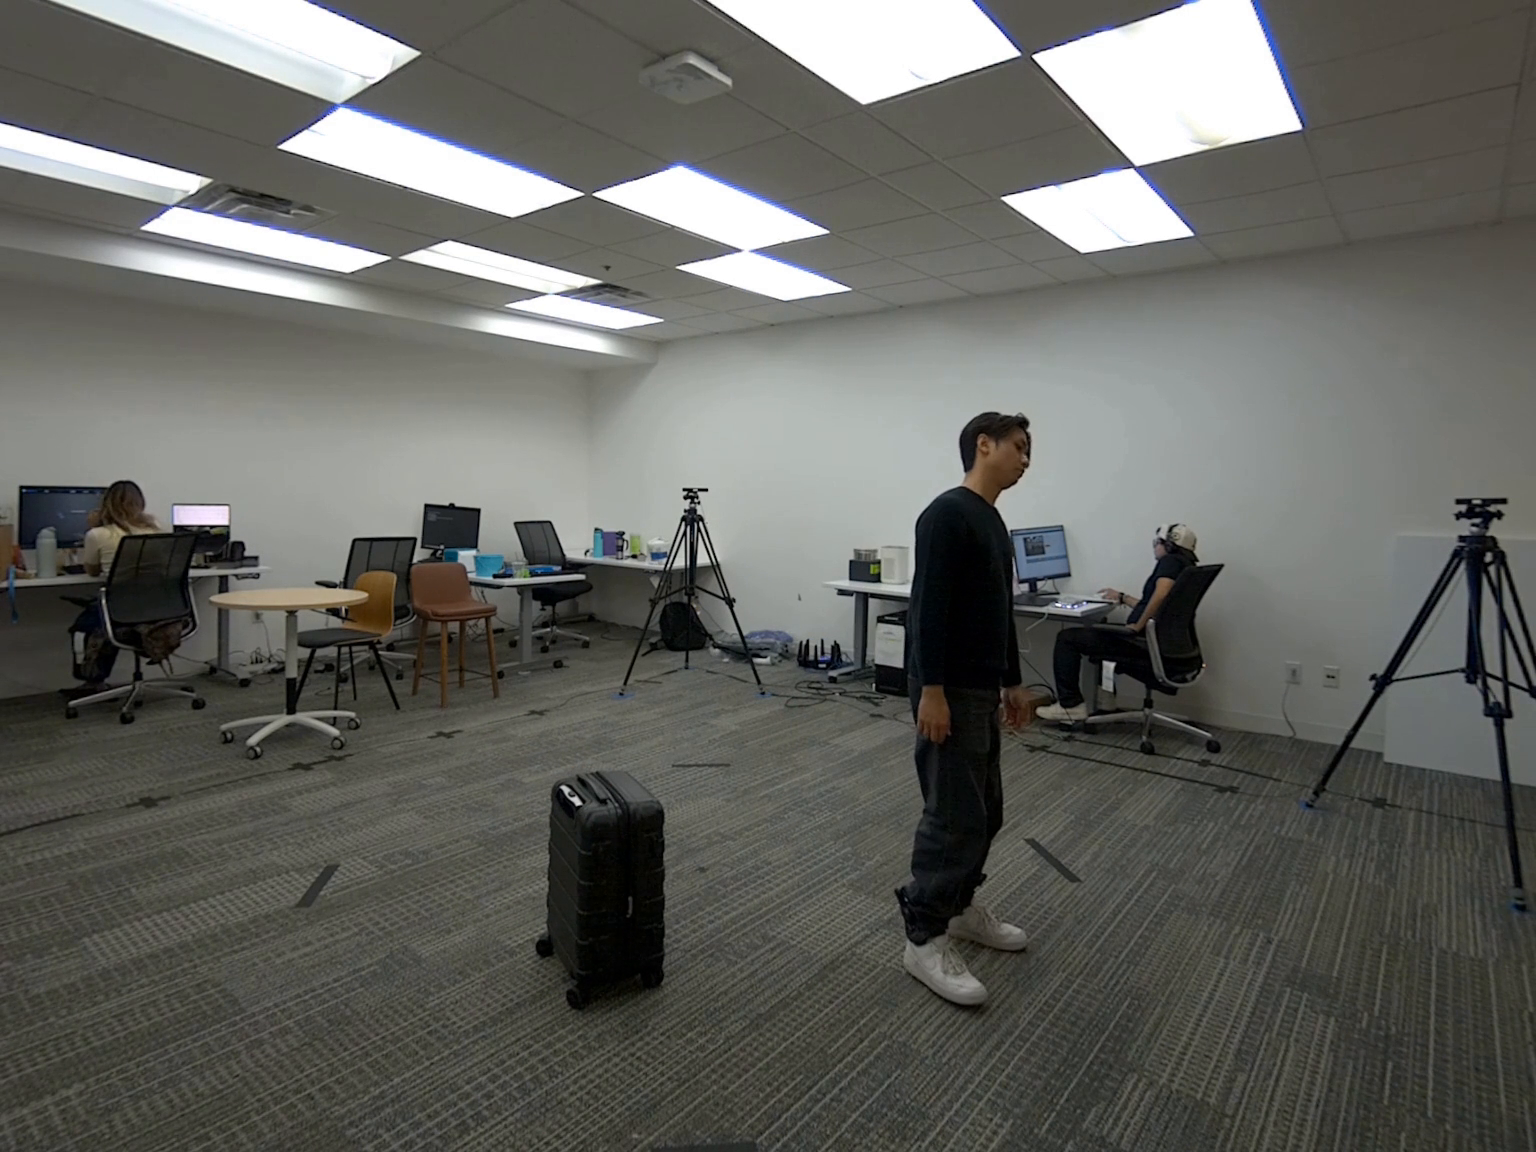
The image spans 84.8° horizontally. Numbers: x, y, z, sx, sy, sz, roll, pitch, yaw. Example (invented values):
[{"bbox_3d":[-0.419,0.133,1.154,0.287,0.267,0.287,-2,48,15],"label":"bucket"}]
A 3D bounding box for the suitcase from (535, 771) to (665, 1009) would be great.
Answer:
[{"bbox_3d":[-0.478,0.857,2.434,0.241,0.548,0.387,1,4,-30],"label":"suitcase"}]
